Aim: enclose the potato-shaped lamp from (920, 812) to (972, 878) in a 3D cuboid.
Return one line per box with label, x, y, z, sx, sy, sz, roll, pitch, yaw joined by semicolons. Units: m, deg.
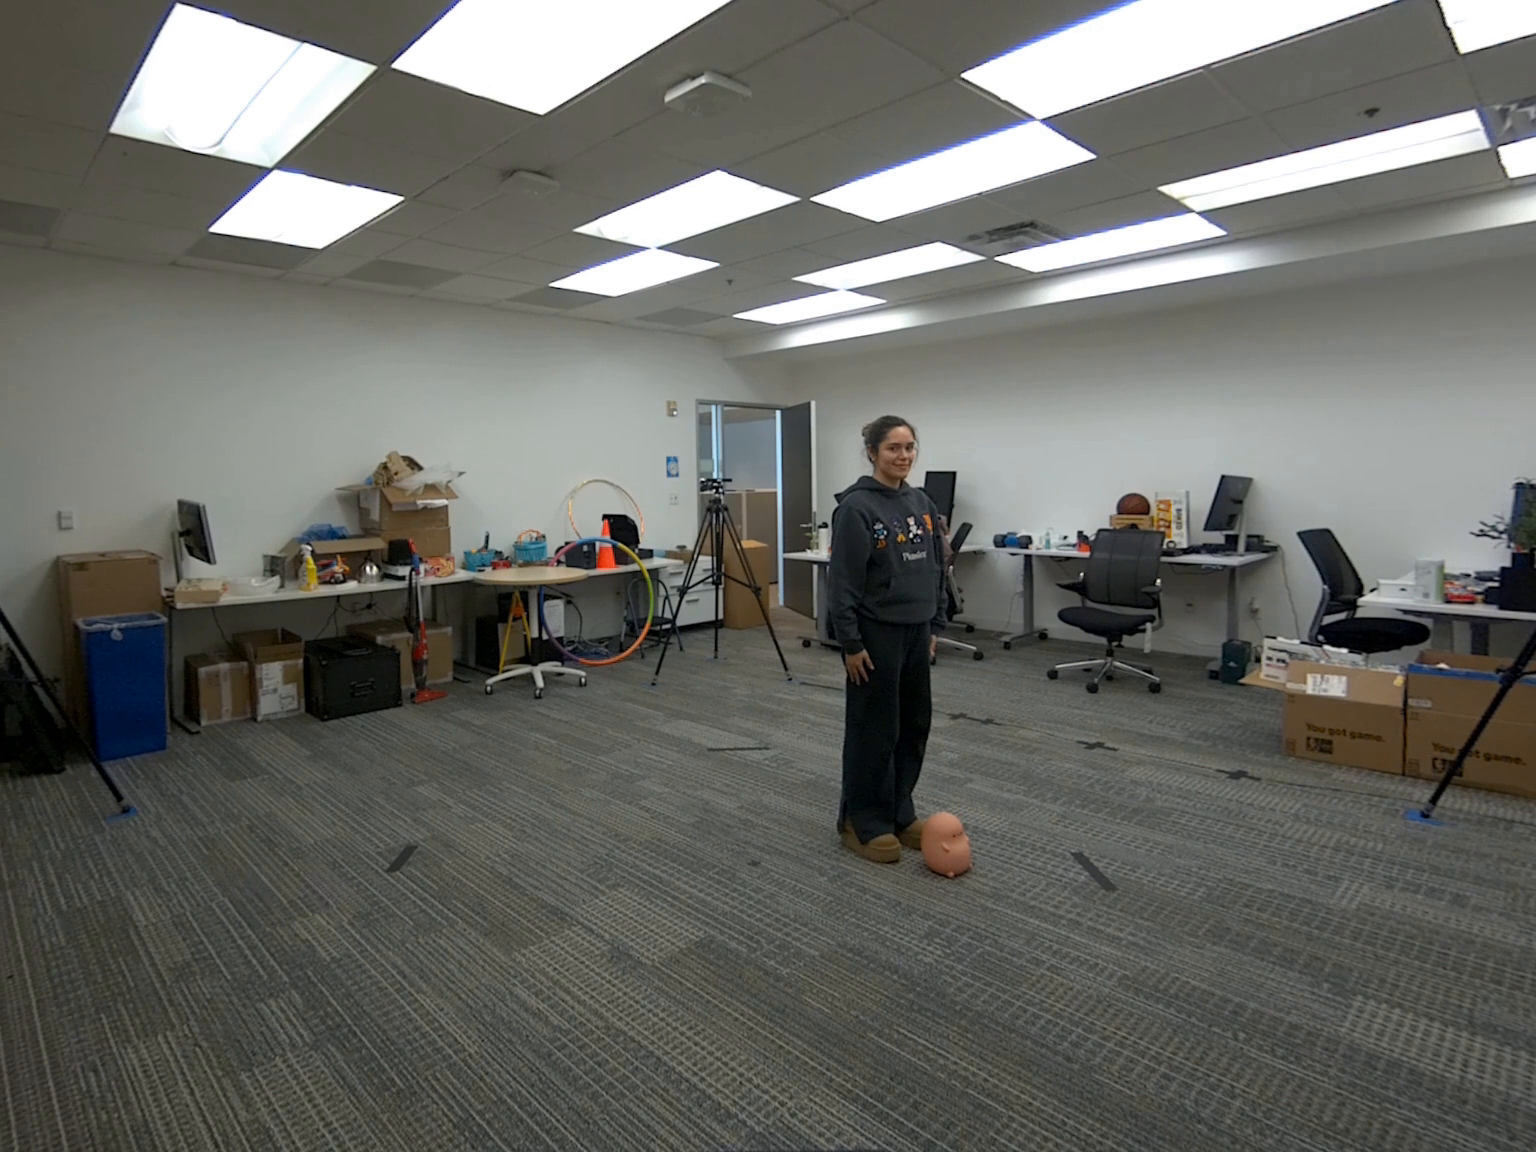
potato-shaped lamp;0.631;0.961;3.013;0.167;0.197;0.170;-24;6;39
